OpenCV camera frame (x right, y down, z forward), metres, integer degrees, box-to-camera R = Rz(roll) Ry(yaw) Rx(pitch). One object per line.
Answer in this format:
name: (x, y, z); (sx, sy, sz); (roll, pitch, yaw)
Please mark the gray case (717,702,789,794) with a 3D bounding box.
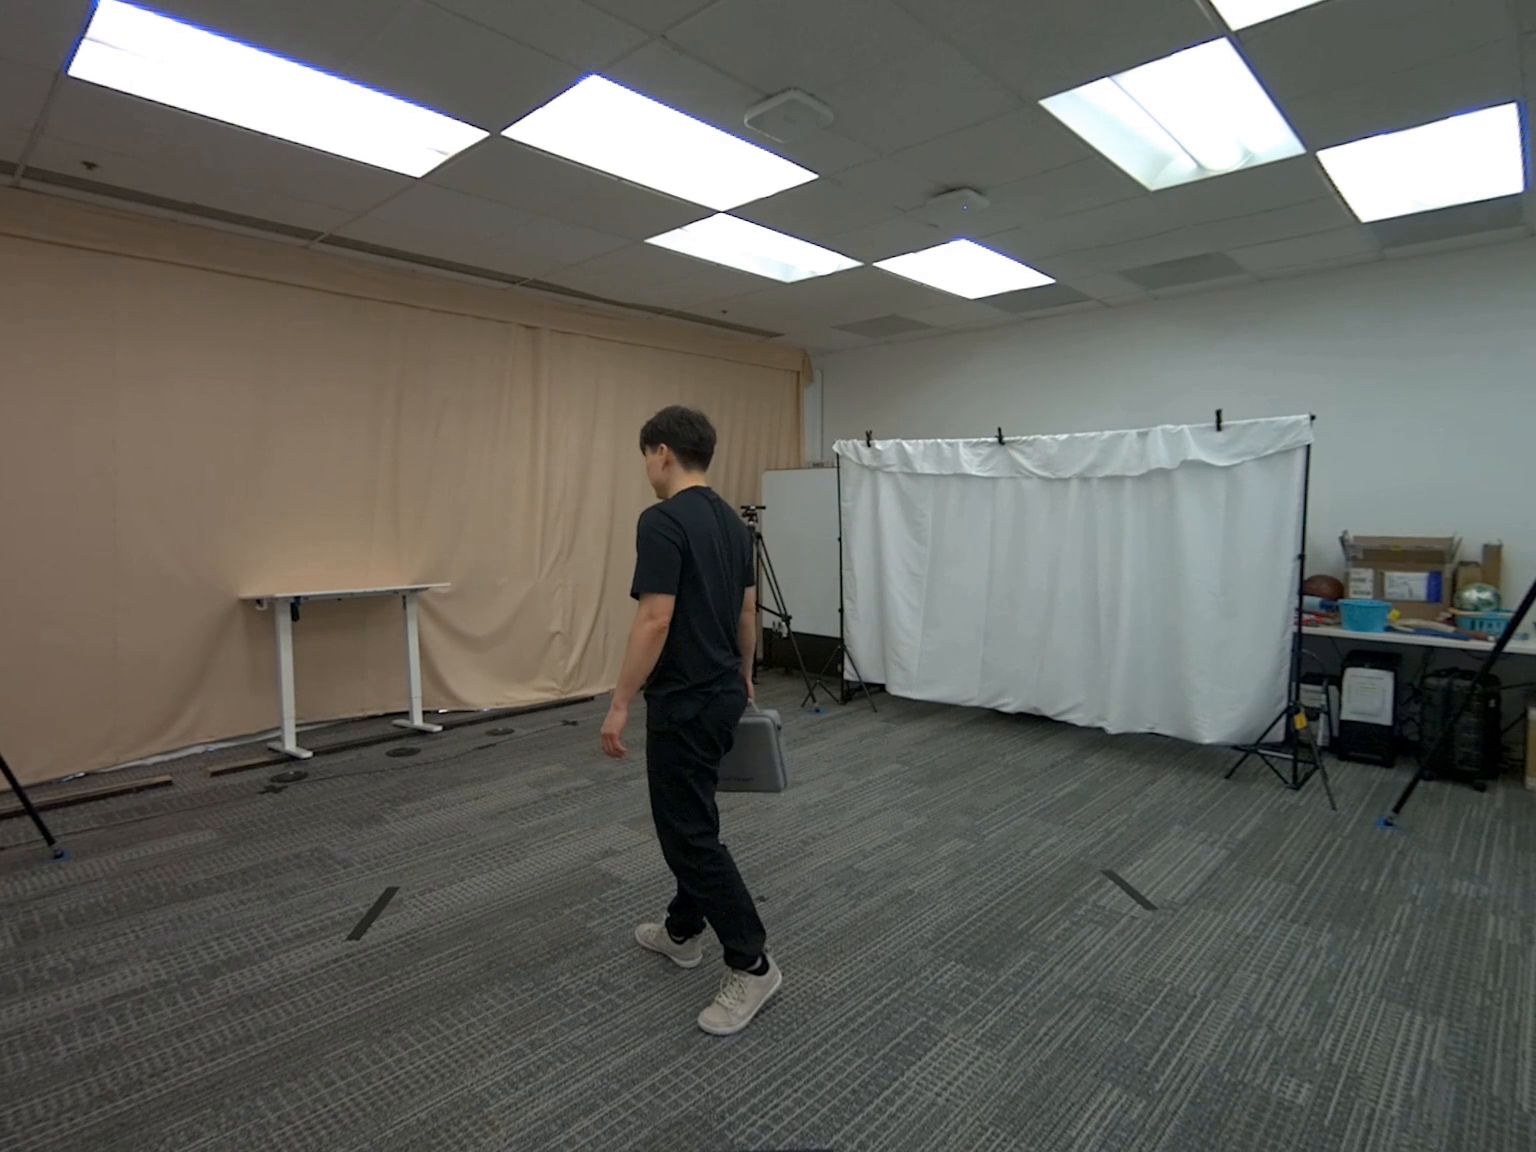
gray case: (-0.074, 0.560, 2.713); (0.263, 0.259, 0.102); (-5, 5, 25)
